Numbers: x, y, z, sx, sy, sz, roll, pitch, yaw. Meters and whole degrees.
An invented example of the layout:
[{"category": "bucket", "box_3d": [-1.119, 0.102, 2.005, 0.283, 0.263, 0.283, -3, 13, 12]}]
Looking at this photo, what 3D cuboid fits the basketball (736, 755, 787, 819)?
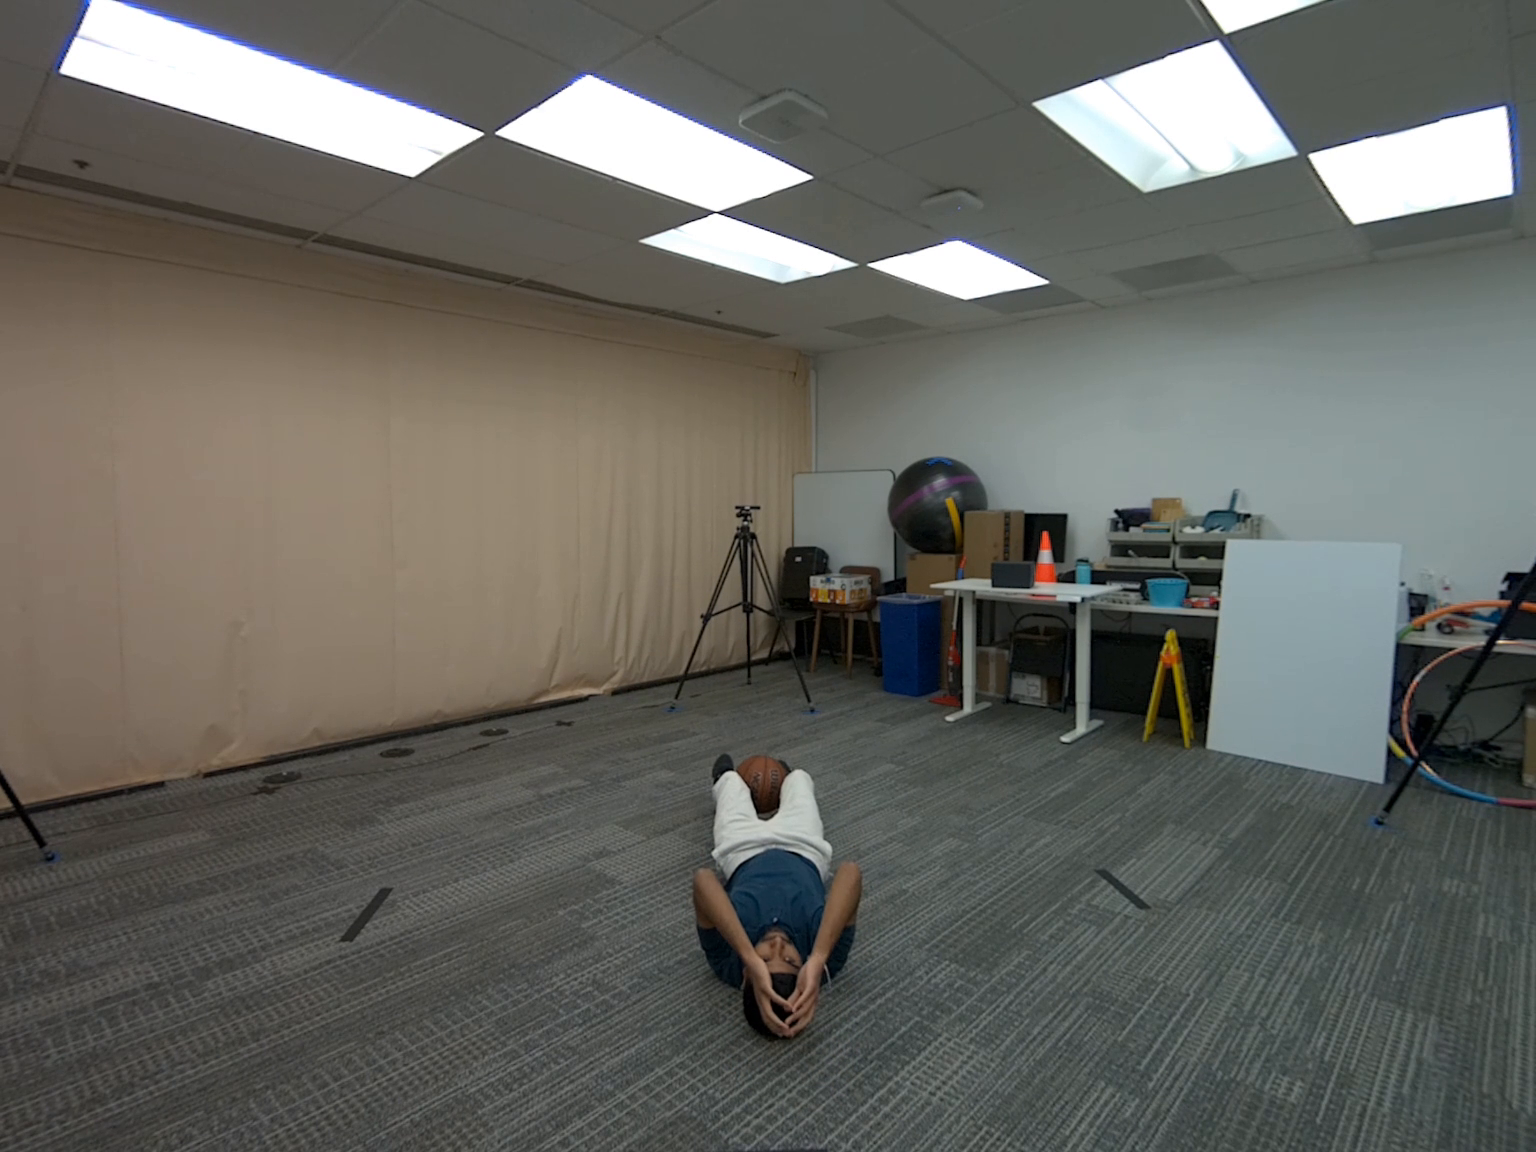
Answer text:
[{"category": "basketball", "box_3d": [-0.032, 0.876, 3.567, 0.236, 0.235, 0.237, 0, 4, -2]}]
